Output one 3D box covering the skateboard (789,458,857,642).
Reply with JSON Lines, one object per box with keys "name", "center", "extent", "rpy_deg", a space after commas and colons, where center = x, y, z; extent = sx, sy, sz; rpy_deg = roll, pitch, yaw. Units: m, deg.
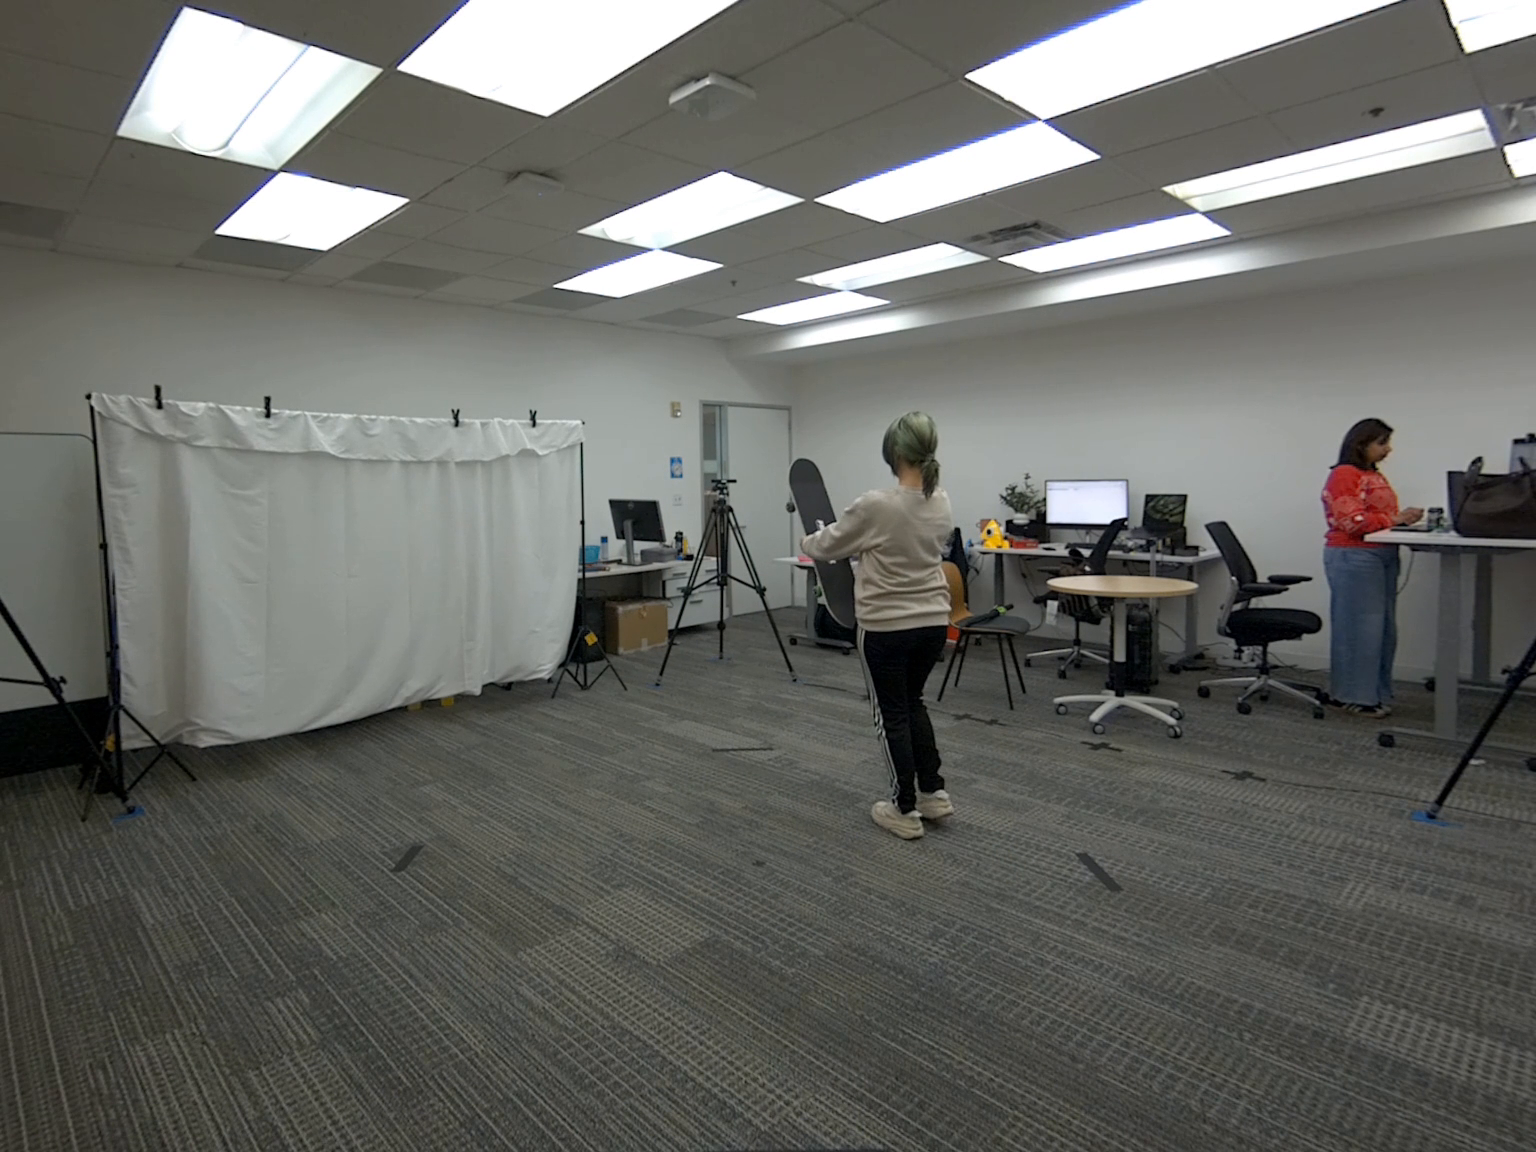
{"name": "skateboard", "center": [0.236, -0.139, 3.769], "extent": [0.189, 0.798, 0.111], "rpy_deg": [-5, -18, -35]}
